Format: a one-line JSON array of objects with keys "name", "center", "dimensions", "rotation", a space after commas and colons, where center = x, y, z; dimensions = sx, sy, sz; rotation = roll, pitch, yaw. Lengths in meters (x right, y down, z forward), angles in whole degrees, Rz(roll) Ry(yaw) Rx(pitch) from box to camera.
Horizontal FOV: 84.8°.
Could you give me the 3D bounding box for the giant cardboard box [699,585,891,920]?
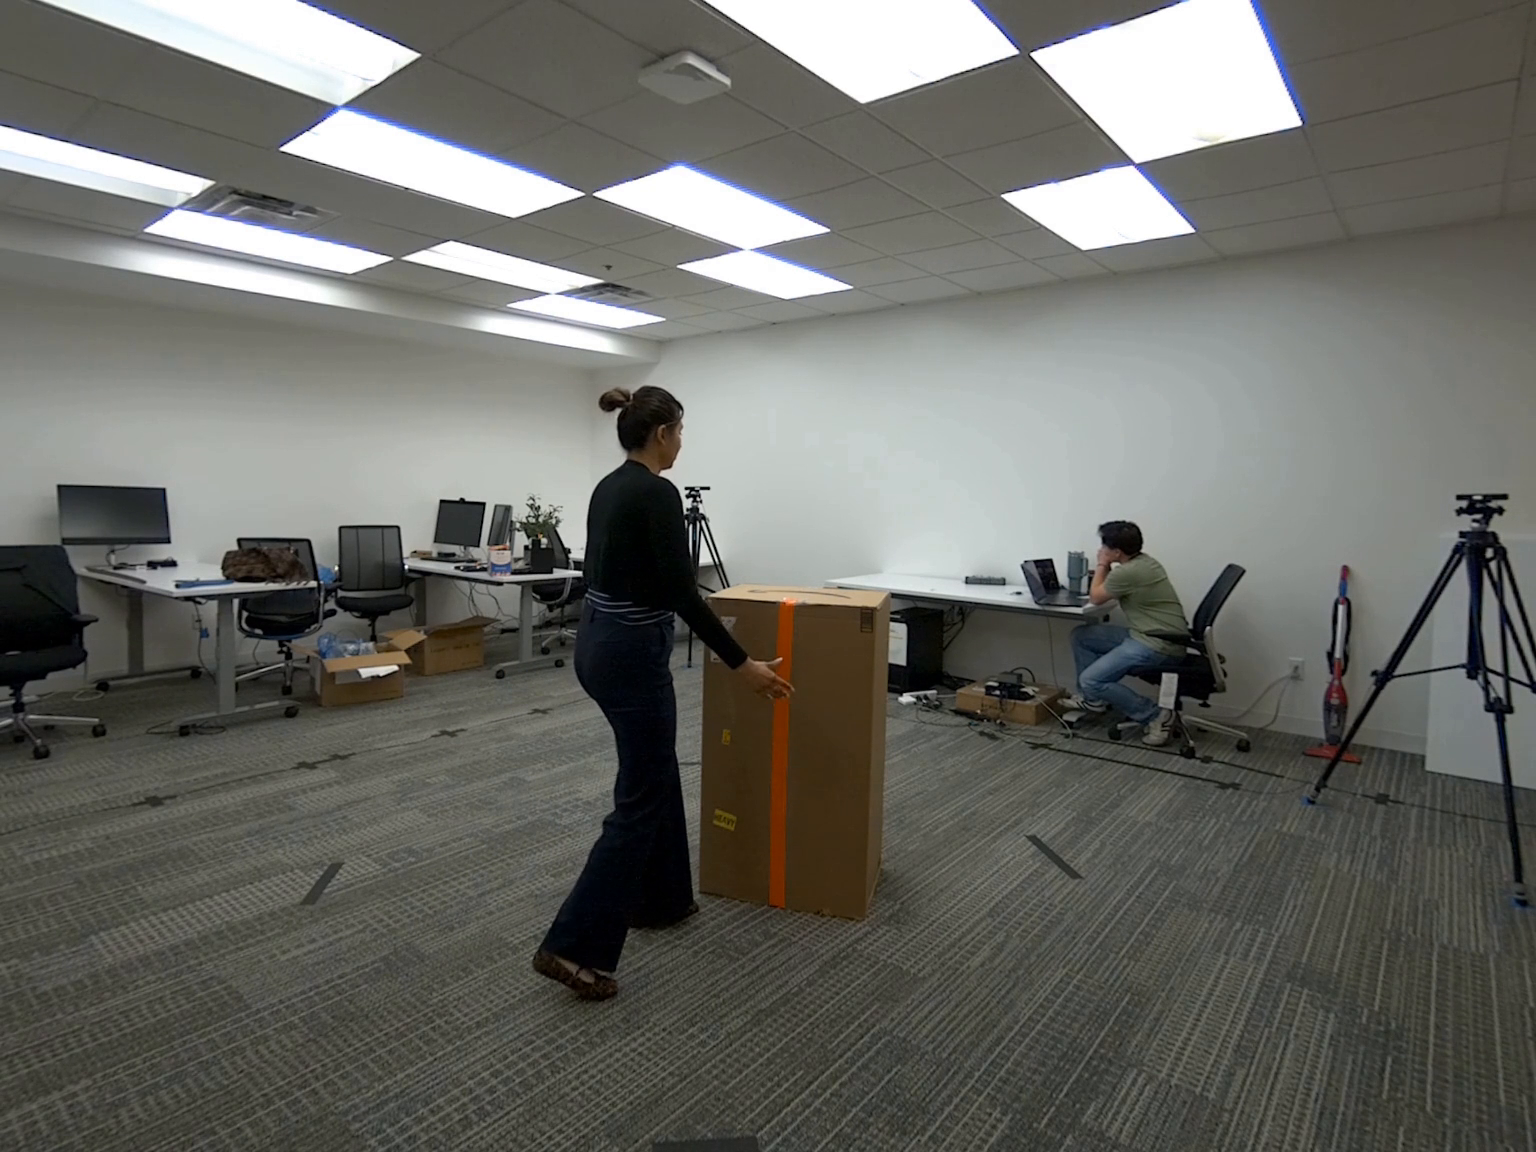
[{"name": "giant cardboard box", "center": [0.096, 0.570, 2.997], "dimensions": [0.589, 1.022, 0.419], "rotation": [2, 4, 18]}]
